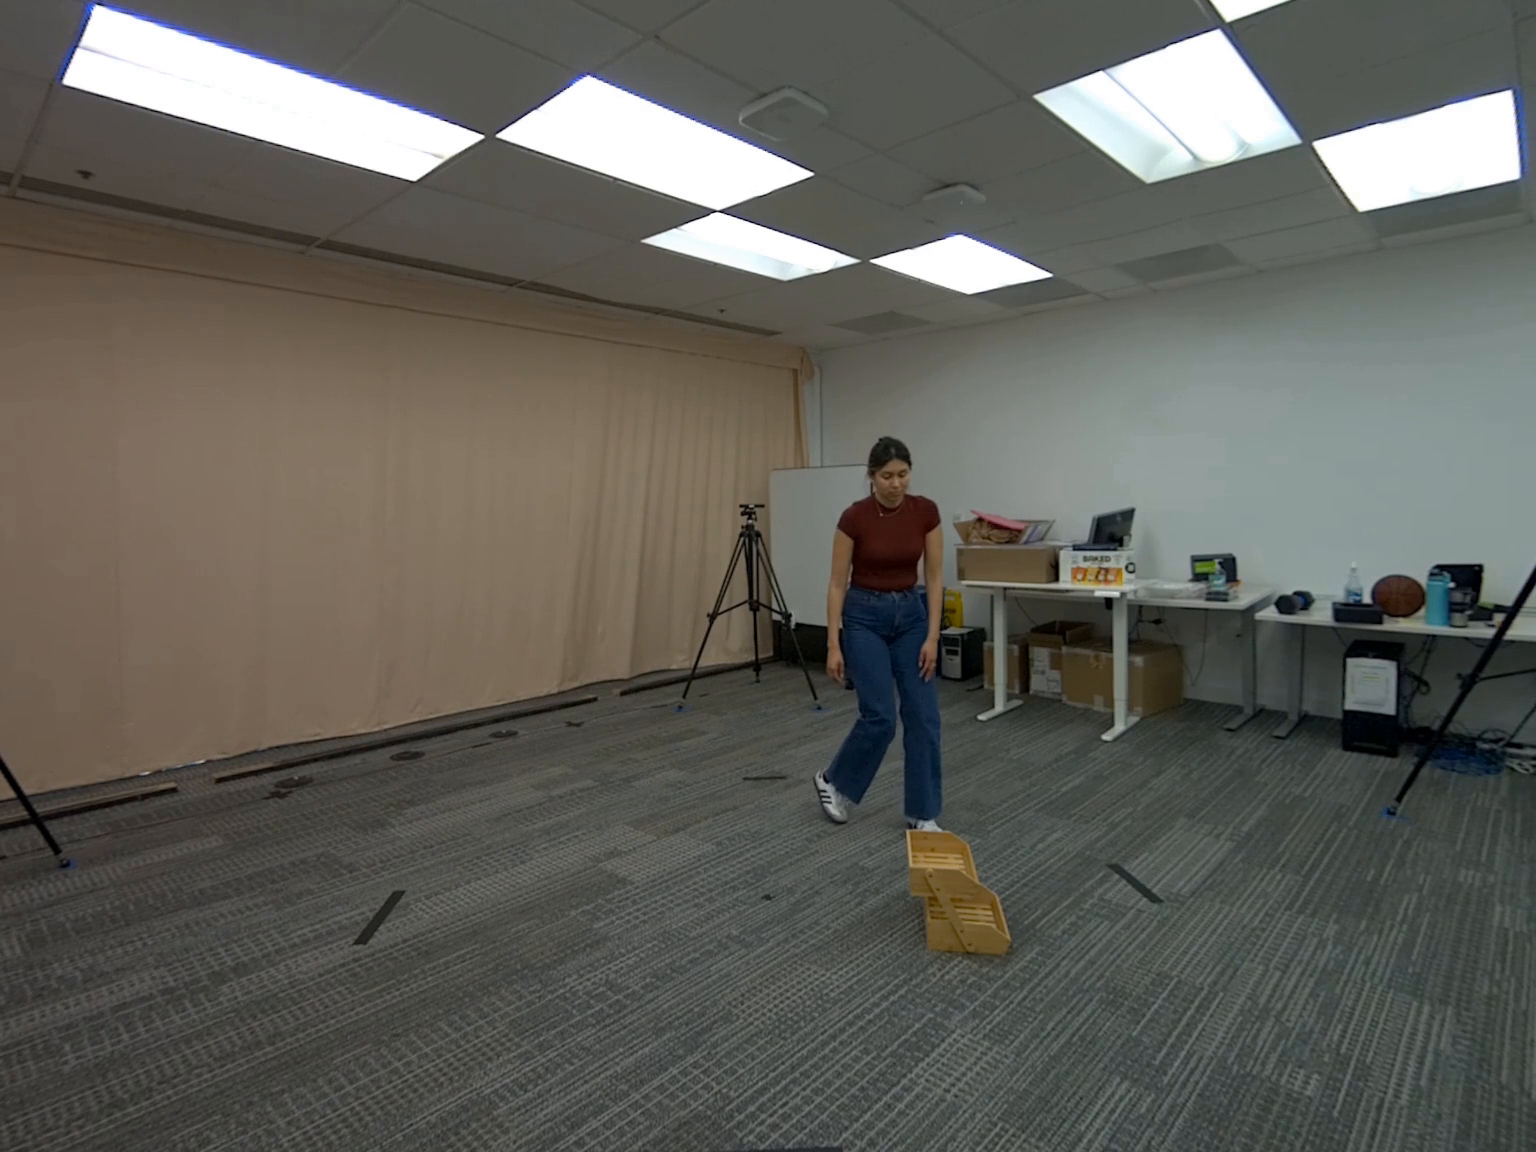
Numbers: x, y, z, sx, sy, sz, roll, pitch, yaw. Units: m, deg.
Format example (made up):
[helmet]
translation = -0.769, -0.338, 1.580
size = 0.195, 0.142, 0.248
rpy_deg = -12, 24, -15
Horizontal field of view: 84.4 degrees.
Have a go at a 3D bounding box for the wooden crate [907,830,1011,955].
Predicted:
[wooden crate]
translation = 0.622, 1.014, 2.742
size = 0.305, 0.272, 0.322
rpy_deg = 0, 4, 9
